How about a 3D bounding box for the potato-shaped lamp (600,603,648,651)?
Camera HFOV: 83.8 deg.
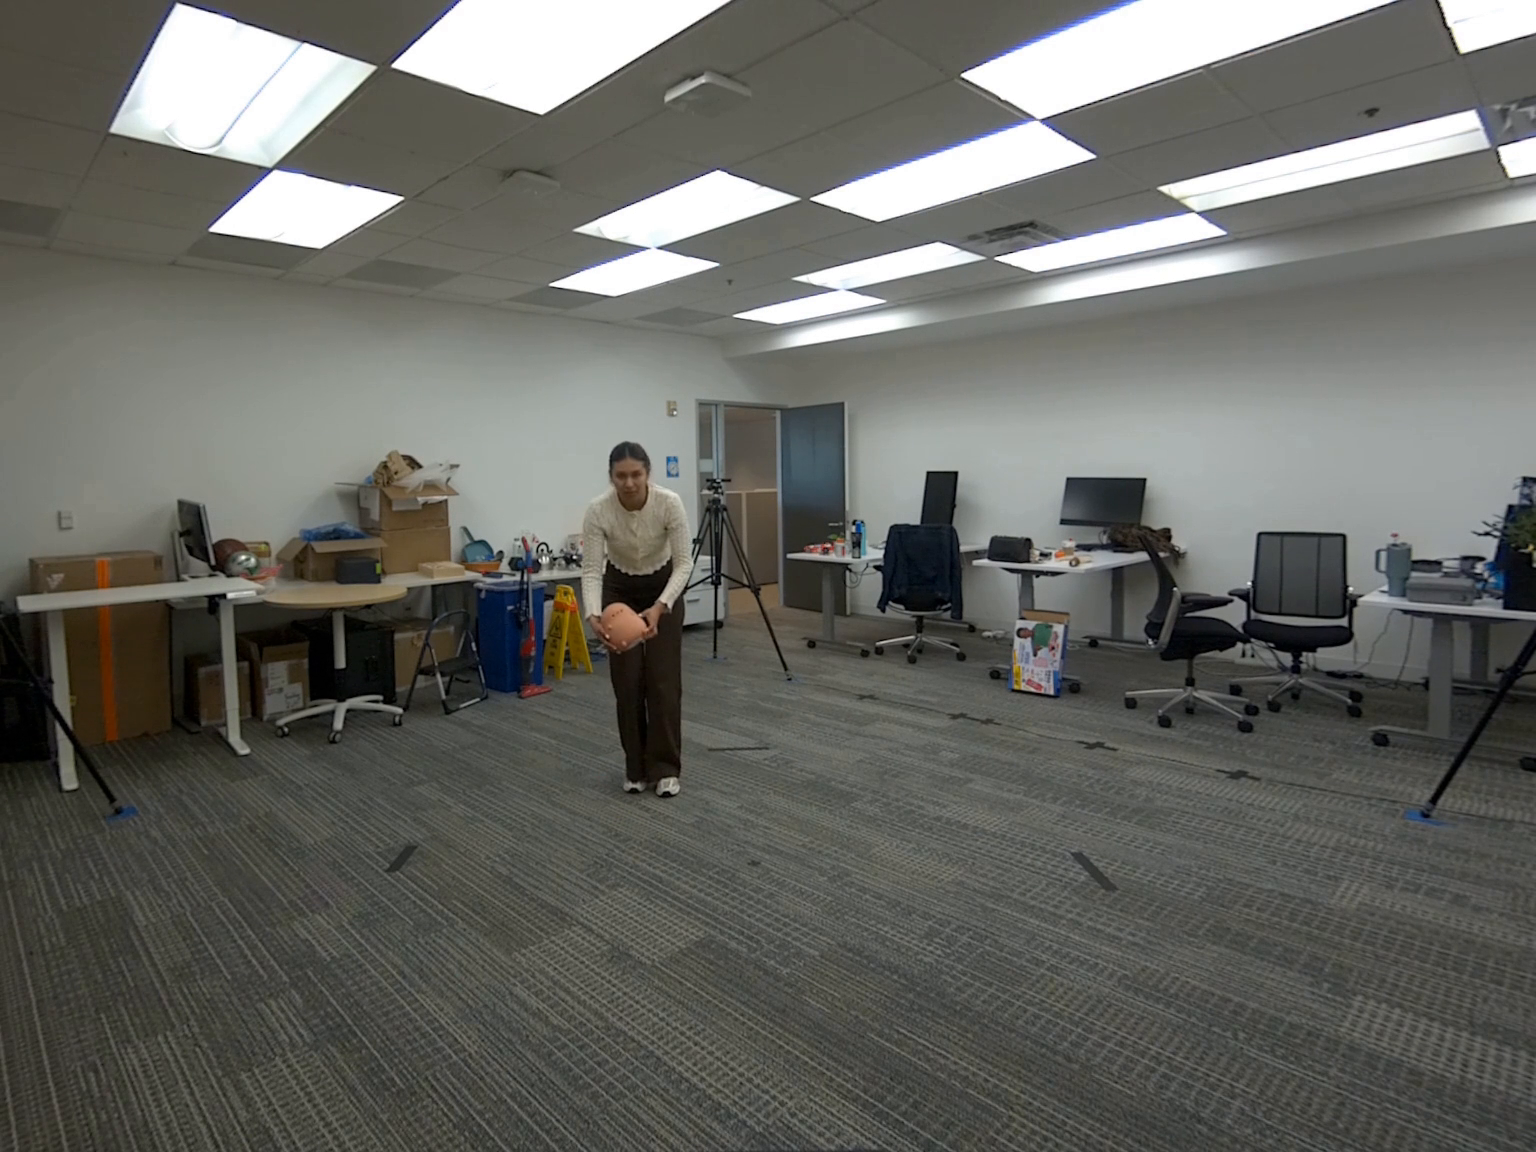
[{"bbox_3d":[-0.610,0.209,3.566,0.163,0.201,0.170,-32,-12,-19],"label":"potato-shaped lamp"}]
